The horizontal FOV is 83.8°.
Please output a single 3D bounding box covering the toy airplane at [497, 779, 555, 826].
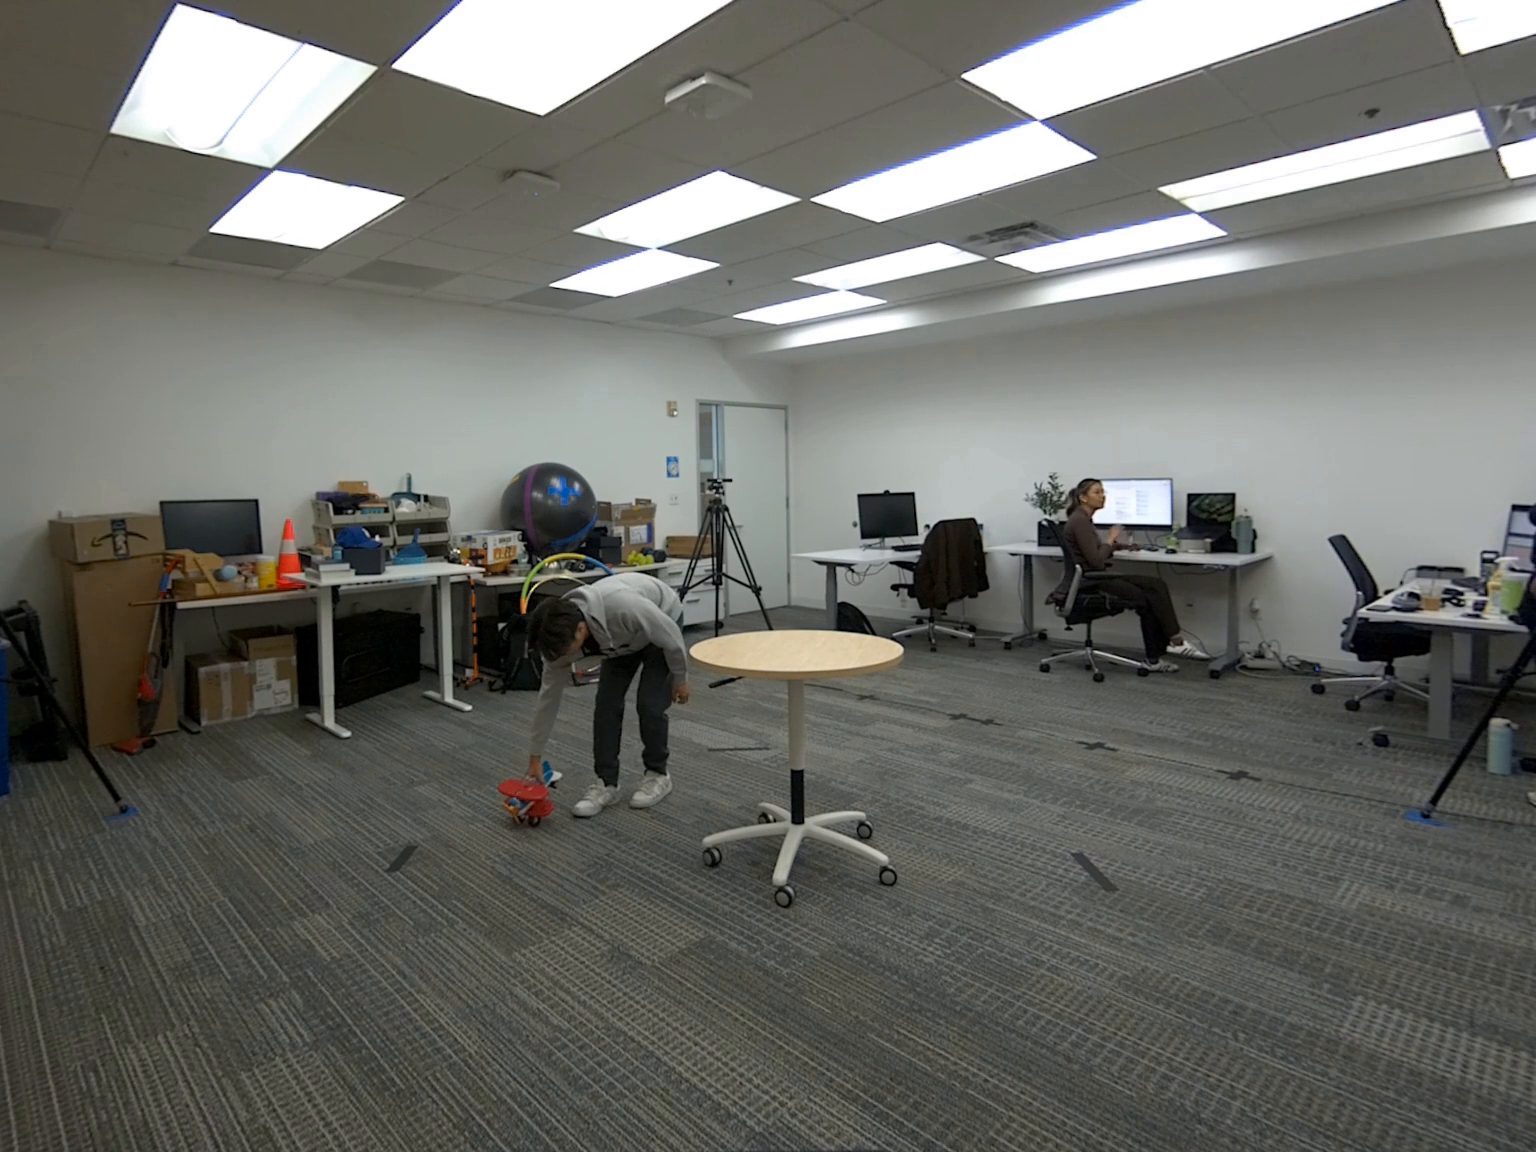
[{"bbox_3d":[-0.989,0.904,3.548,0.252,0.151,0.267,-17,36,8],"label":"toy airplane"}]
